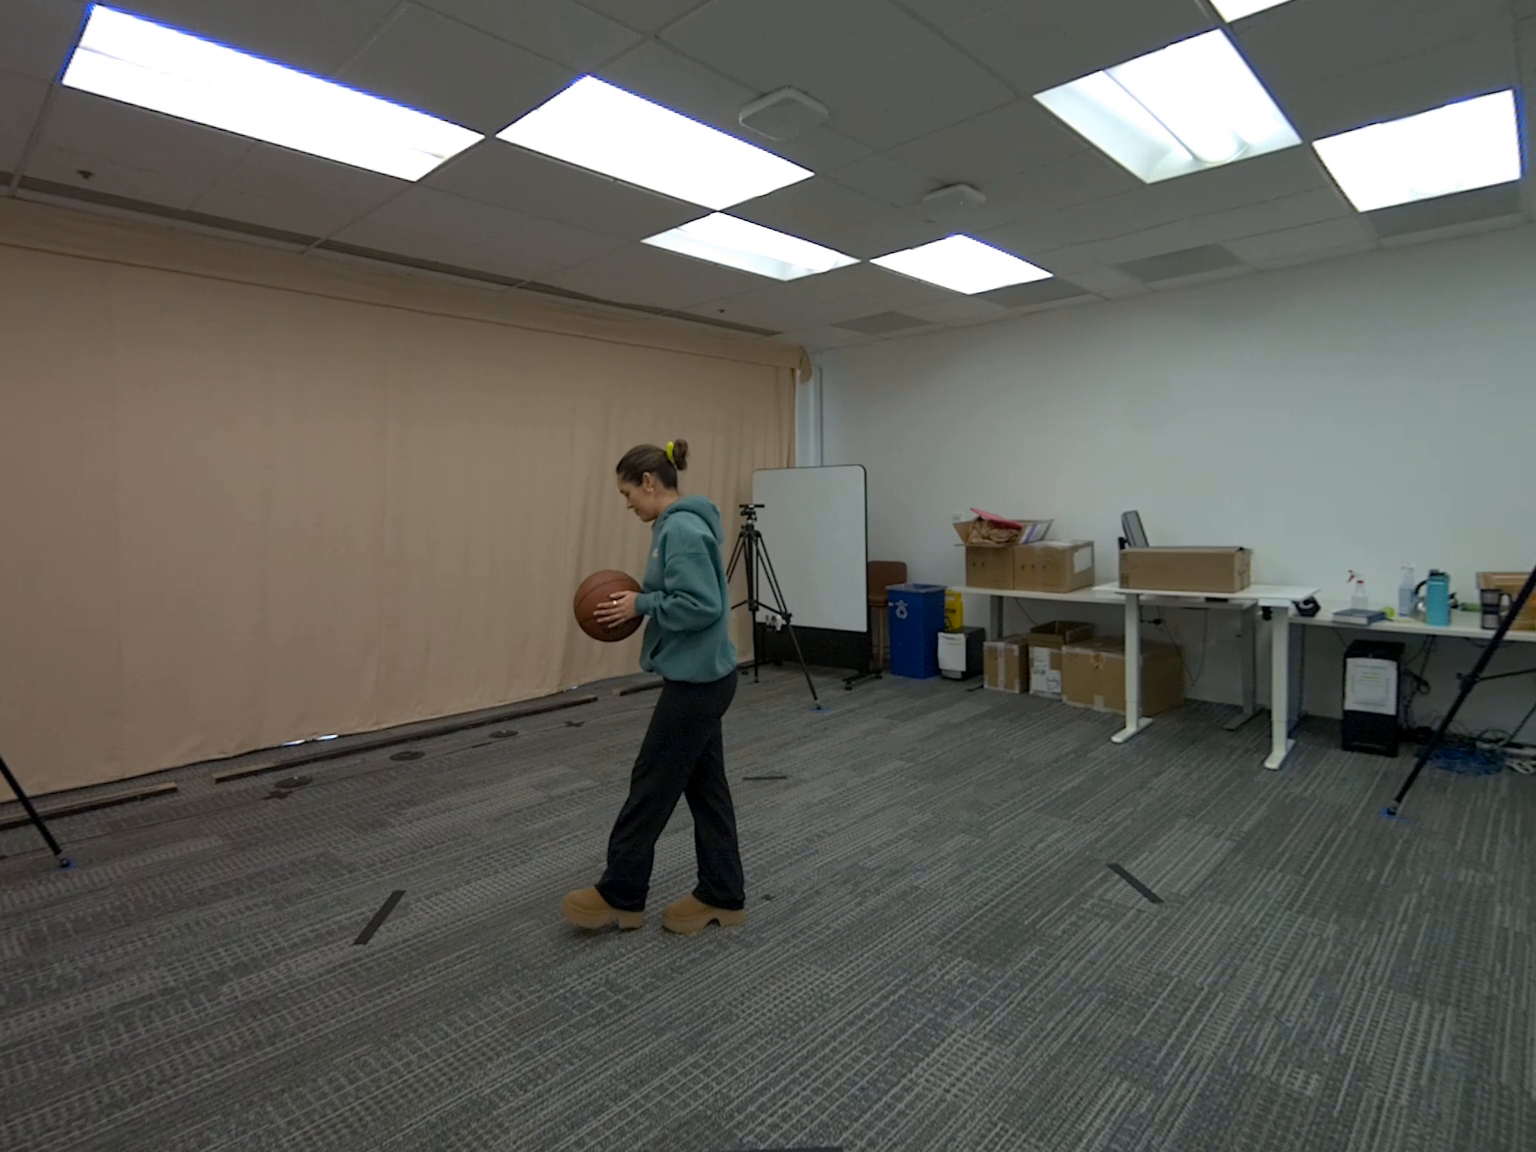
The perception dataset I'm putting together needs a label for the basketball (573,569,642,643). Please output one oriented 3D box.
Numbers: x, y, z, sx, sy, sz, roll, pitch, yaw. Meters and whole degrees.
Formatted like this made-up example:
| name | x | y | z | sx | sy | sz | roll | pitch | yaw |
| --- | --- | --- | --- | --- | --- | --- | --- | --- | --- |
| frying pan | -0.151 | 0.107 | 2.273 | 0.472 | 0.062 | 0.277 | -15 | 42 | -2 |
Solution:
| name | x | y | z | sx | sy | sz | roll | pitch | yaw |
| --- | --- | --- | --- | --- | --- | --- | --- | --- | --- |
| basketball | -0.518 | 0.099 | 2.751 | 0.236 | 0.235 | 0.237 | -1 | 4 | -2 |
